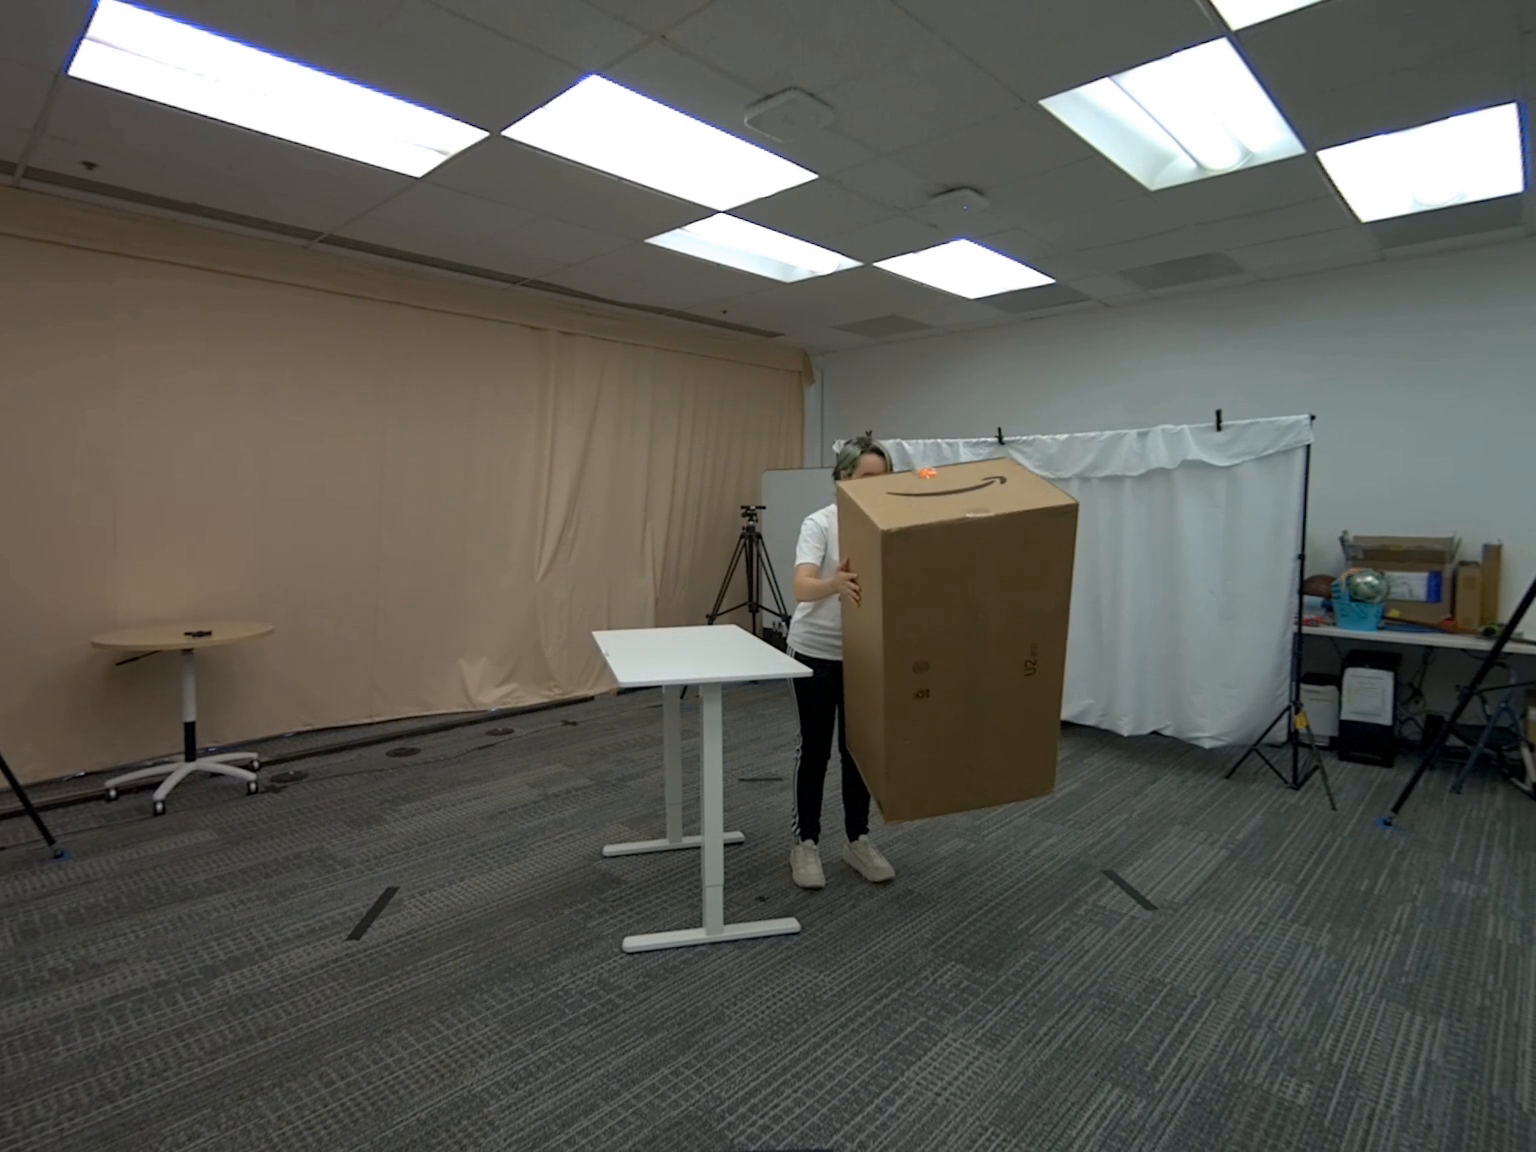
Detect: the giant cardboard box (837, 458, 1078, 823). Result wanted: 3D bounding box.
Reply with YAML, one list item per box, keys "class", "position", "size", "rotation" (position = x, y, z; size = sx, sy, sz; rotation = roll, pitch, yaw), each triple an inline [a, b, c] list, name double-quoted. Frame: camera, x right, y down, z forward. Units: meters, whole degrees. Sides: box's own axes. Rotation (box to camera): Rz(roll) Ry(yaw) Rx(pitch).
- class: "giant cardboard box"
  position: [0.575, 0.204, 2.682]
  size: [0.579, 1.010, 0.457]
  rotation: [-8, 25, -8]
